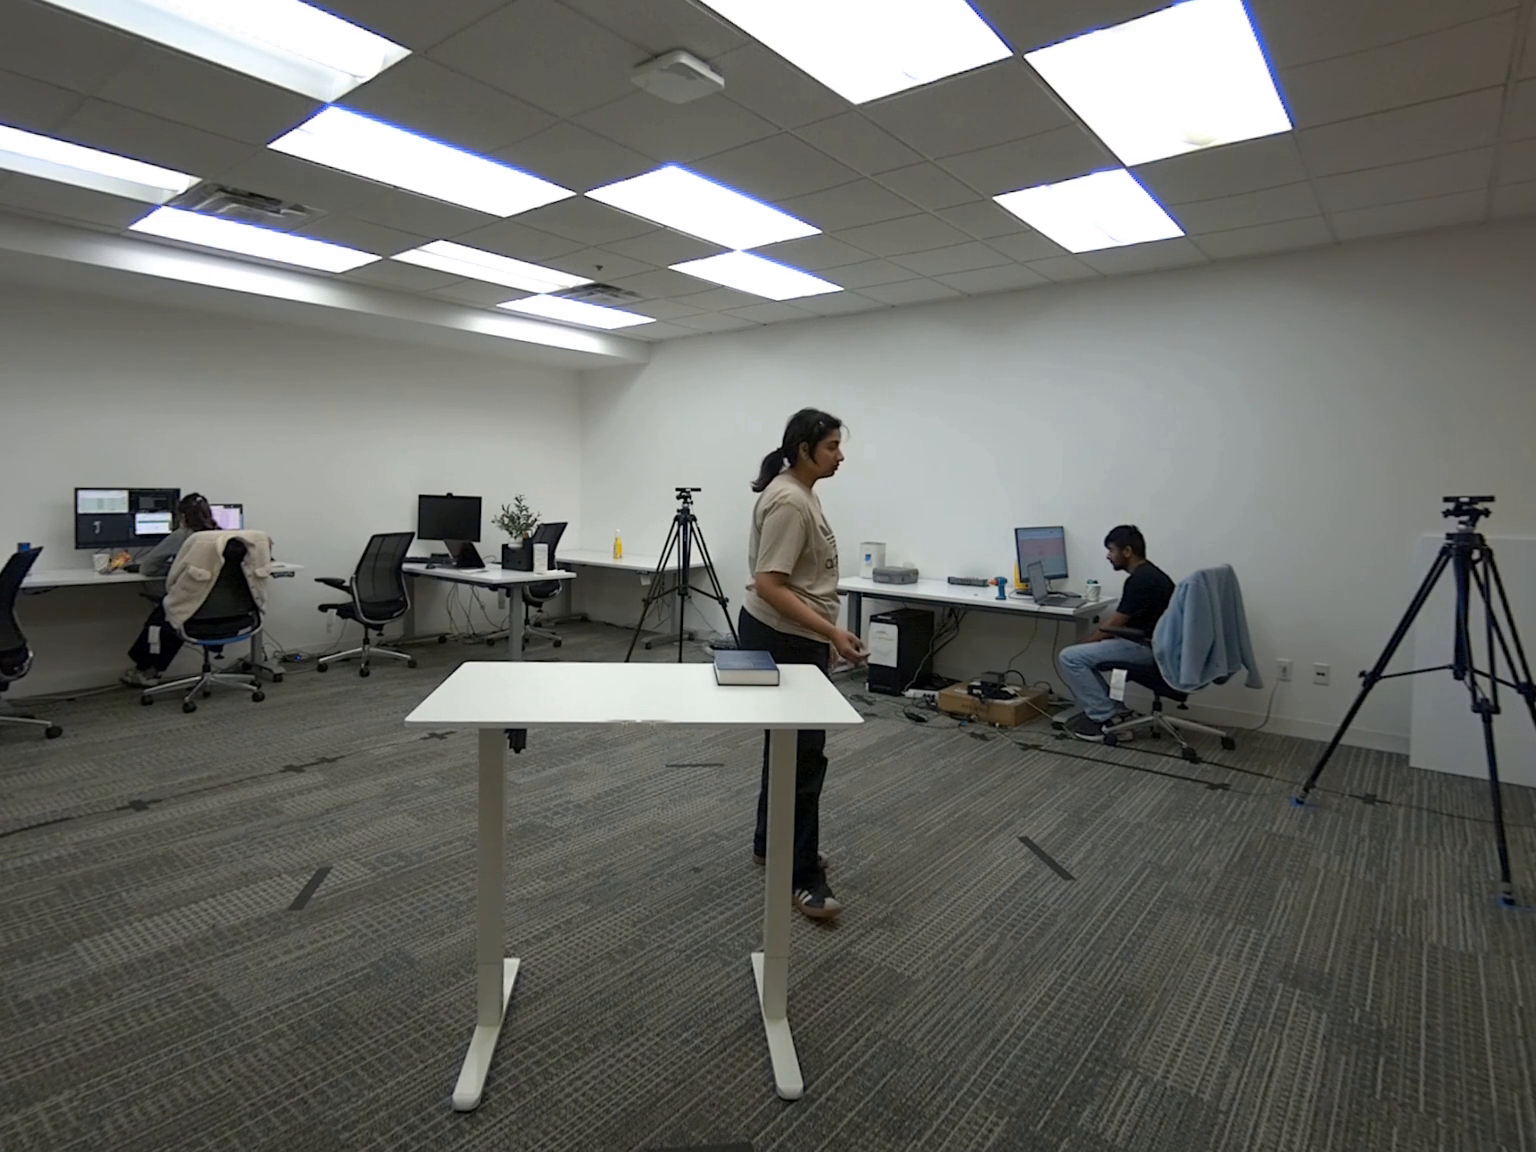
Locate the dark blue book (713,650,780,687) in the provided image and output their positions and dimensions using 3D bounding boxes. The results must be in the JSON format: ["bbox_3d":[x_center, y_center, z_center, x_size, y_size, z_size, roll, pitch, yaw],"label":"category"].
[{"bbox_3d":[-0.063,0.250,2.300,0.163,0.045,0.247,0,6,-5],"label":"dark blue book"}]
